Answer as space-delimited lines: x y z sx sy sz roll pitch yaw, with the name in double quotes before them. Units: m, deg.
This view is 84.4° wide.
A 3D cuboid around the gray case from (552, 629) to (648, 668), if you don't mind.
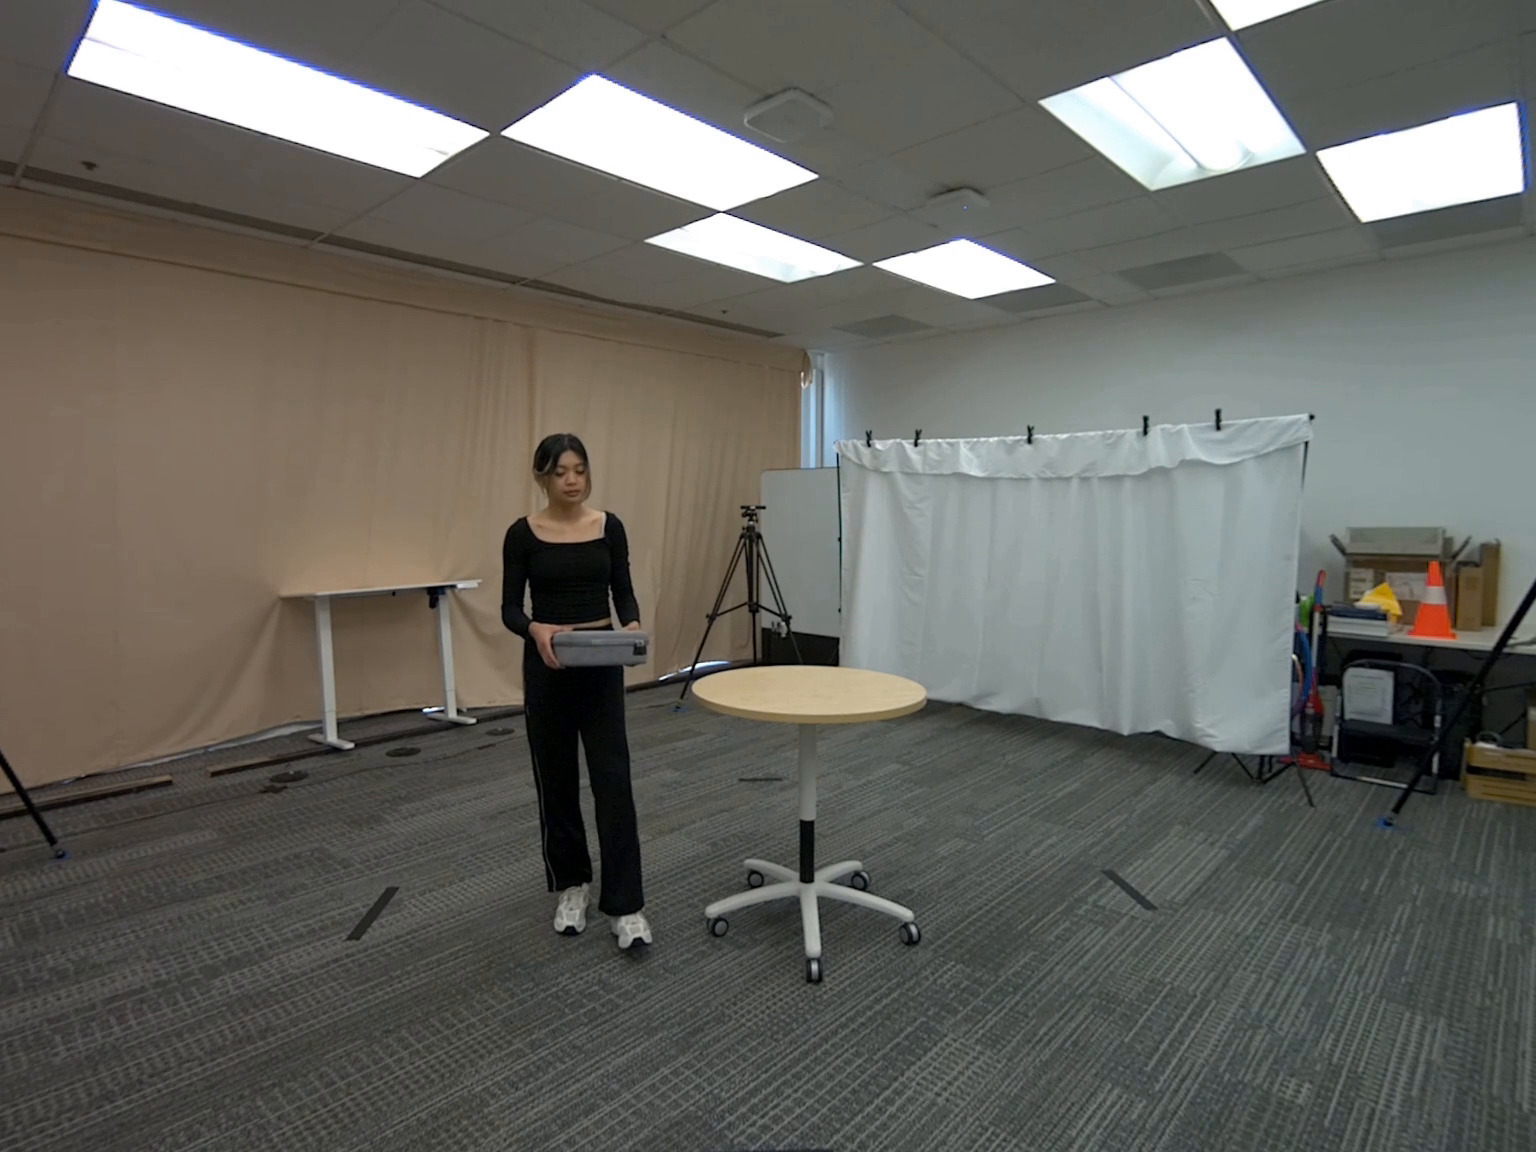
"gray case" -0.515 0.216 2.570 0.251 0.104 0.266 -1 -3 -24
